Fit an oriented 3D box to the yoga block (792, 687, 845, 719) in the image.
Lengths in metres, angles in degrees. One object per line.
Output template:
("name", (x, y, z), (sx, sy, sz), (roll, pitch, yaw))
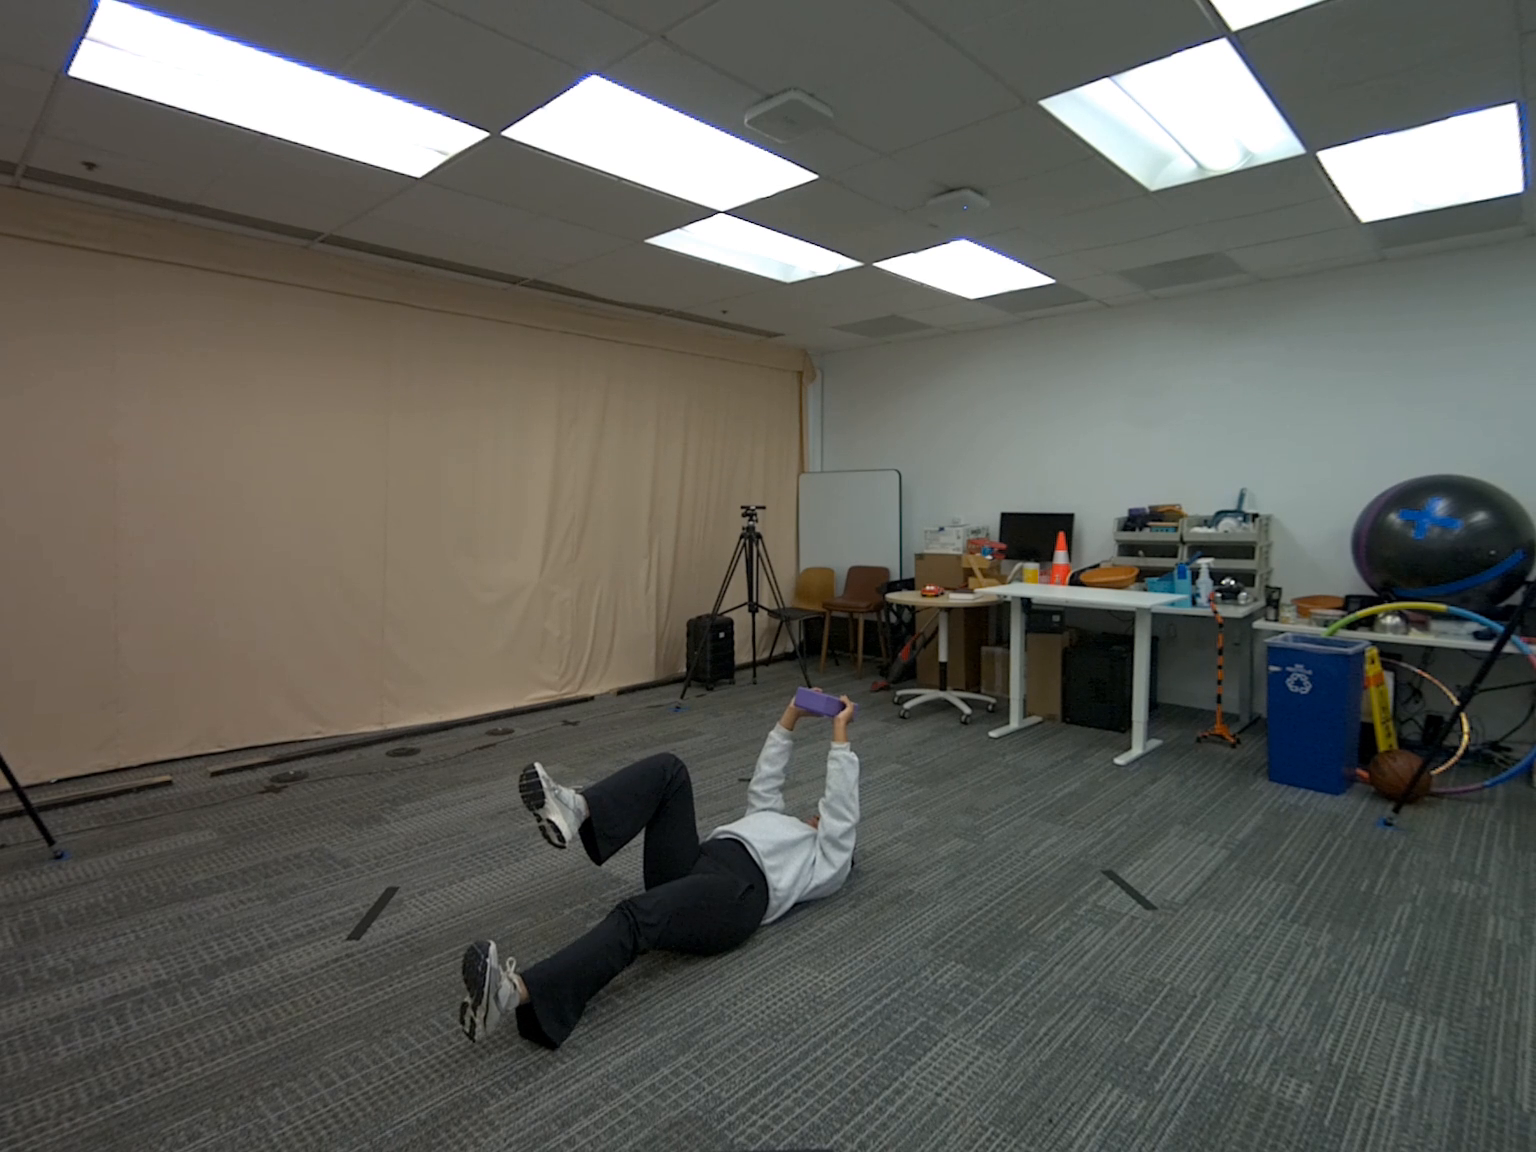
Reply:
("yoga block", (0.227, 0.492, 3.217), (0.154, 0.076, 0.221), (11, -8, 37))
